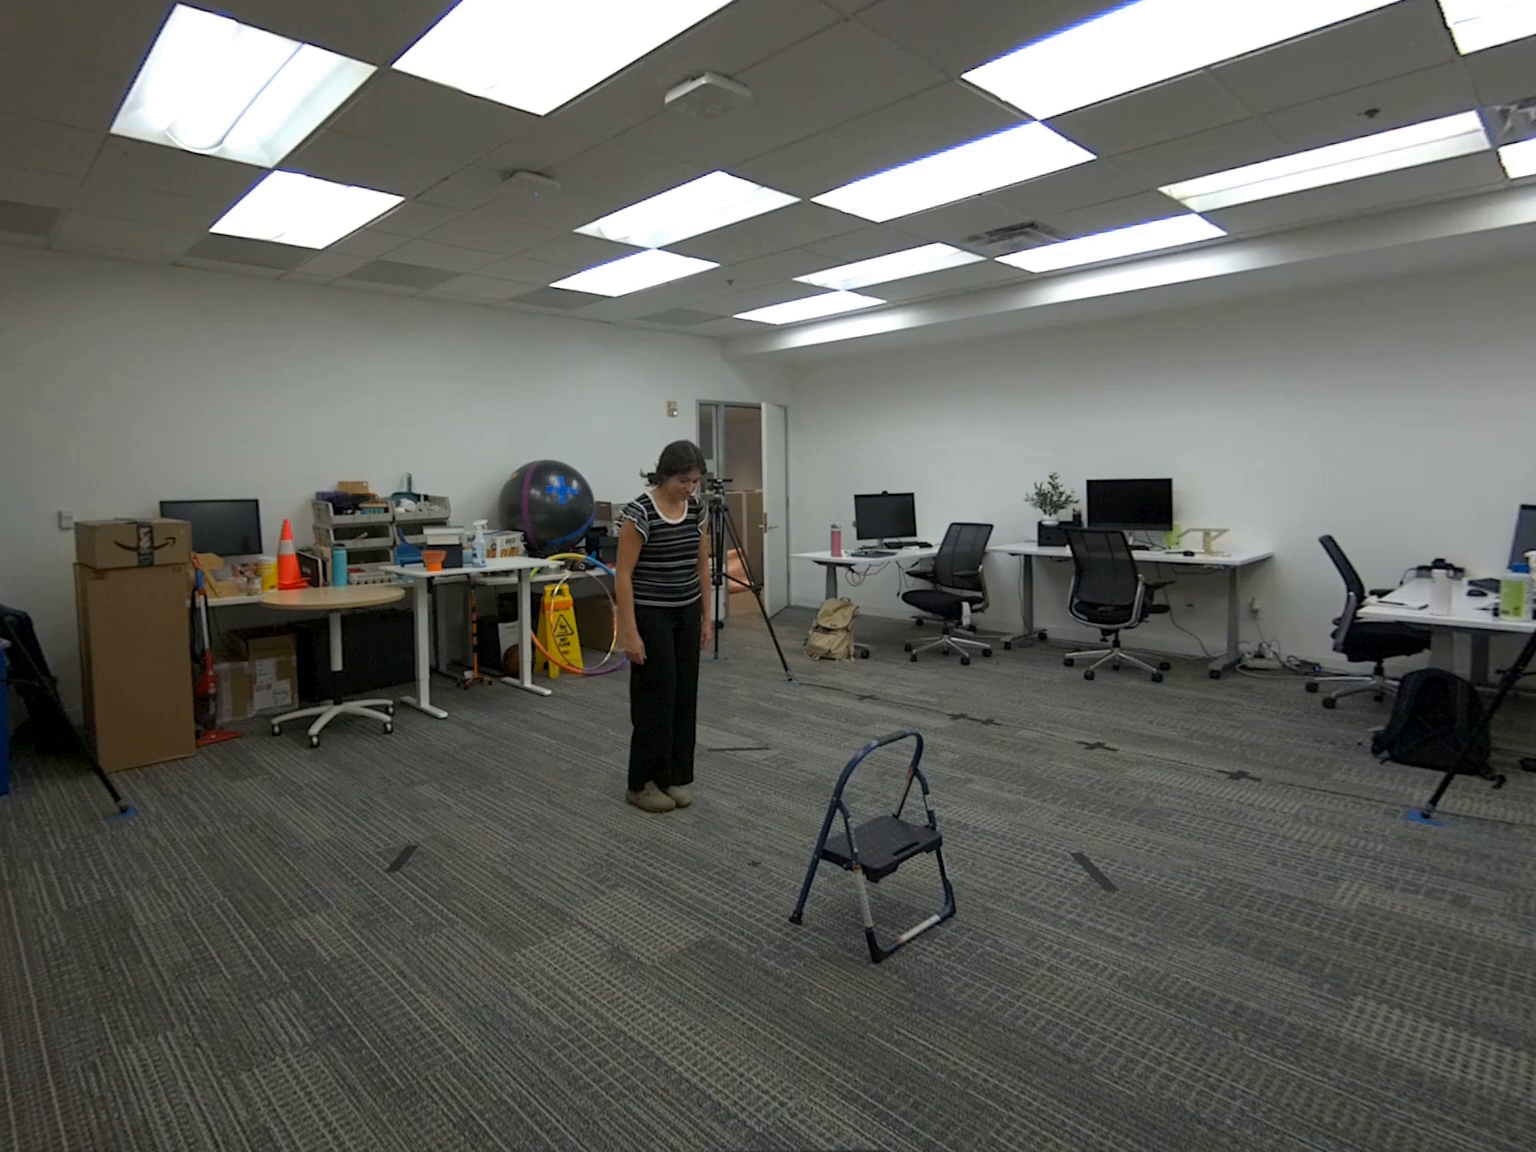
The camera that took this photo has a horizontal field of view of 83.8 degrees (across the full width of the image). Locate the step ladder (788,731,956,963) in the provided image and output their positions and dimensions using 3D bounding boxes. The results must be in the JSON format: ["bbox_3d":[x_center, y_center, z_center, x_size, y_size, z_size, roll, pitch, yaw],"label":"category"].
[{"bbox_3d":[0.333,0.784,2.693,0.419,0.604,0.360,-5,6,-45],"label":"step ladder"}]
